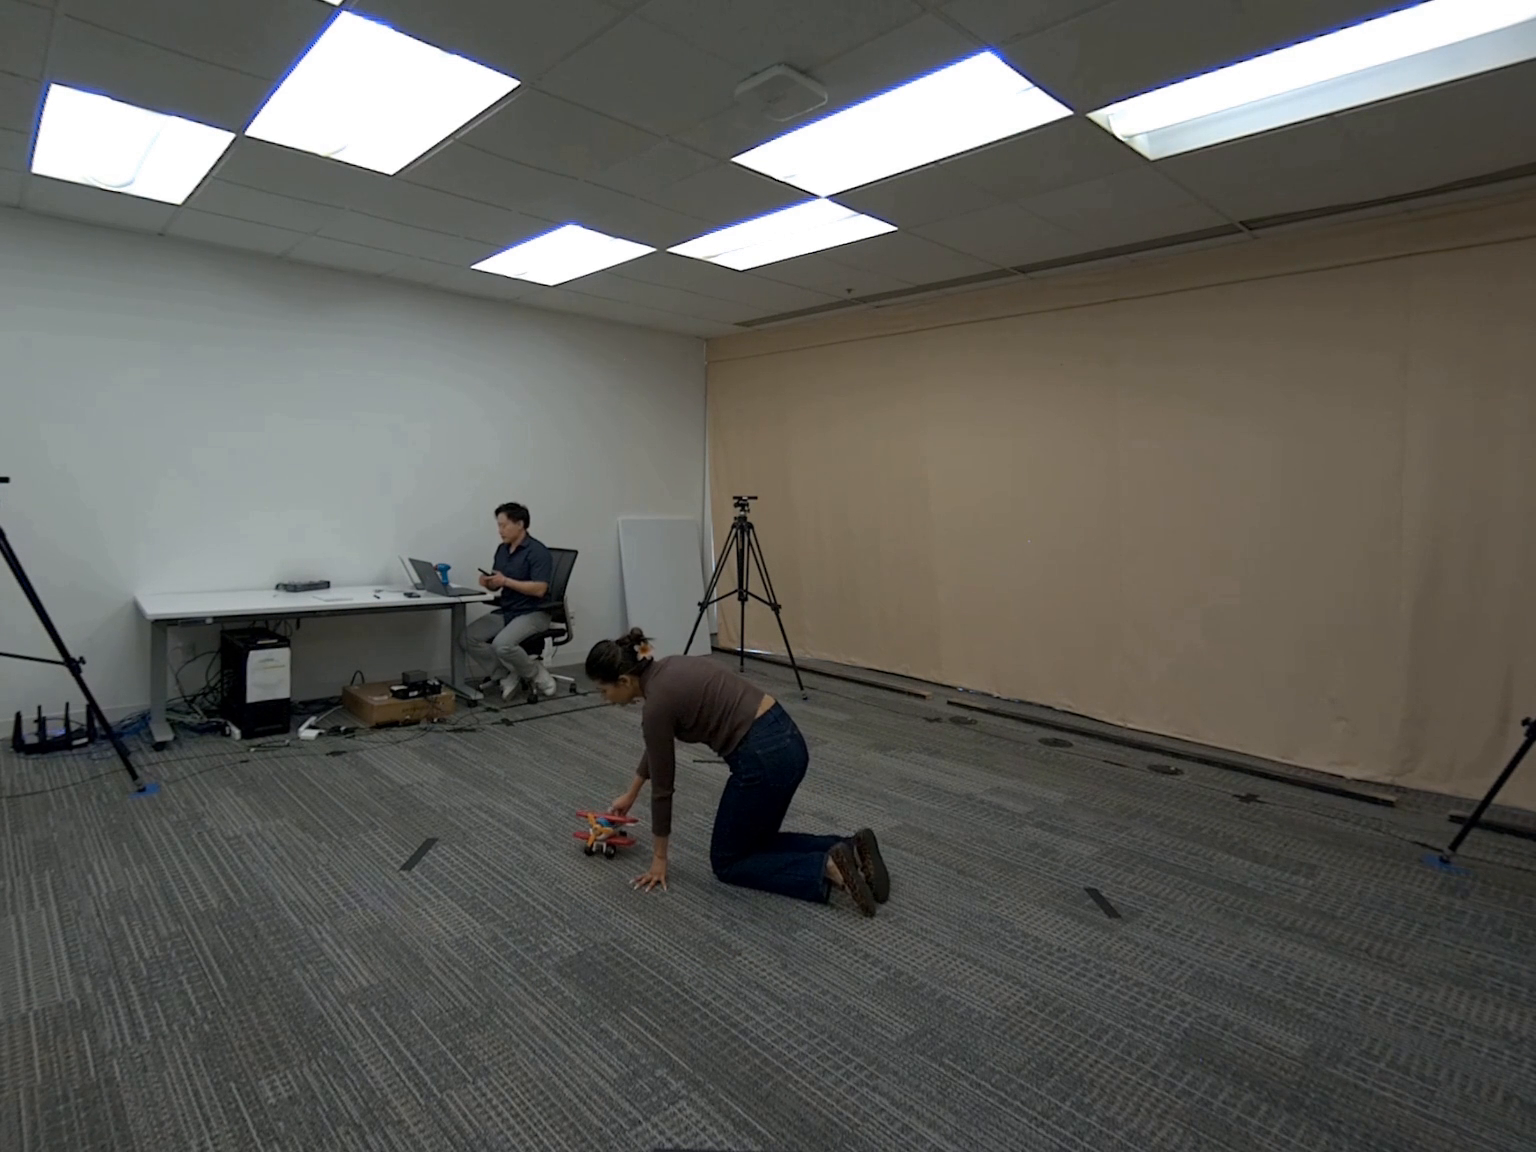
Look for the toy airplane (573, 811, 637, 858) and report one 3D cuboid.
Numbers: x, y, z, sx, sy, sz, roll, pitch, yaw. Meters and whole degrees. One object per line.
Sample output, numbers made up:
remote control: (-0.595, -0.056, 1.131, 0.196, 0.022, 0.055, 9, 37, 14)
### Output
toy airplane: (-0.645, 0.994, 3.316, 0.248, 0.156, 0.263, 1, 5, -14)
